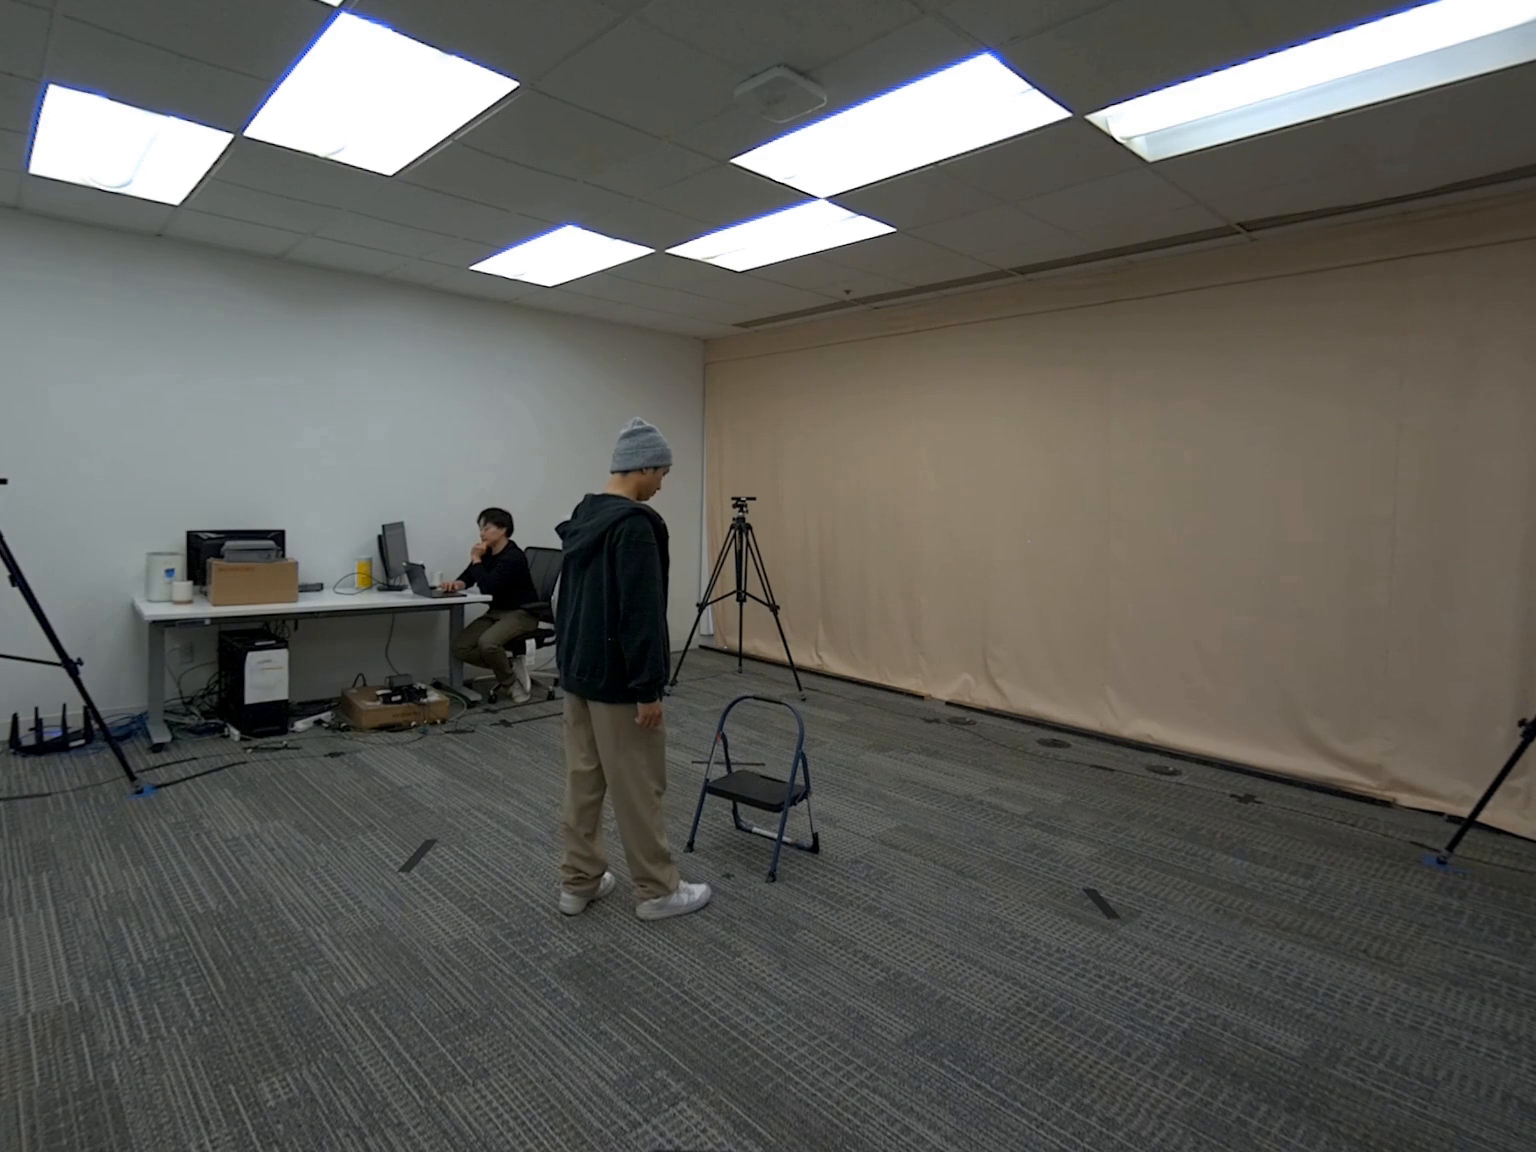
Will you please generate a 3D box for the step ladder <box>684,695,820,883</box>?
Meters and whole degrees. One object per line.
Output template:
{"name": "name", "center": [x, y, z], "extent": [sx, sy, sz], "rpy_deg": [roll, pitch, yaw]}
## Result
{"name": "step ladder", "center": [-0.056, 0.788, 3.304], "extent": [0.441, 0.604, 0.342], "rpy_deg": [4, 5, 36]}
